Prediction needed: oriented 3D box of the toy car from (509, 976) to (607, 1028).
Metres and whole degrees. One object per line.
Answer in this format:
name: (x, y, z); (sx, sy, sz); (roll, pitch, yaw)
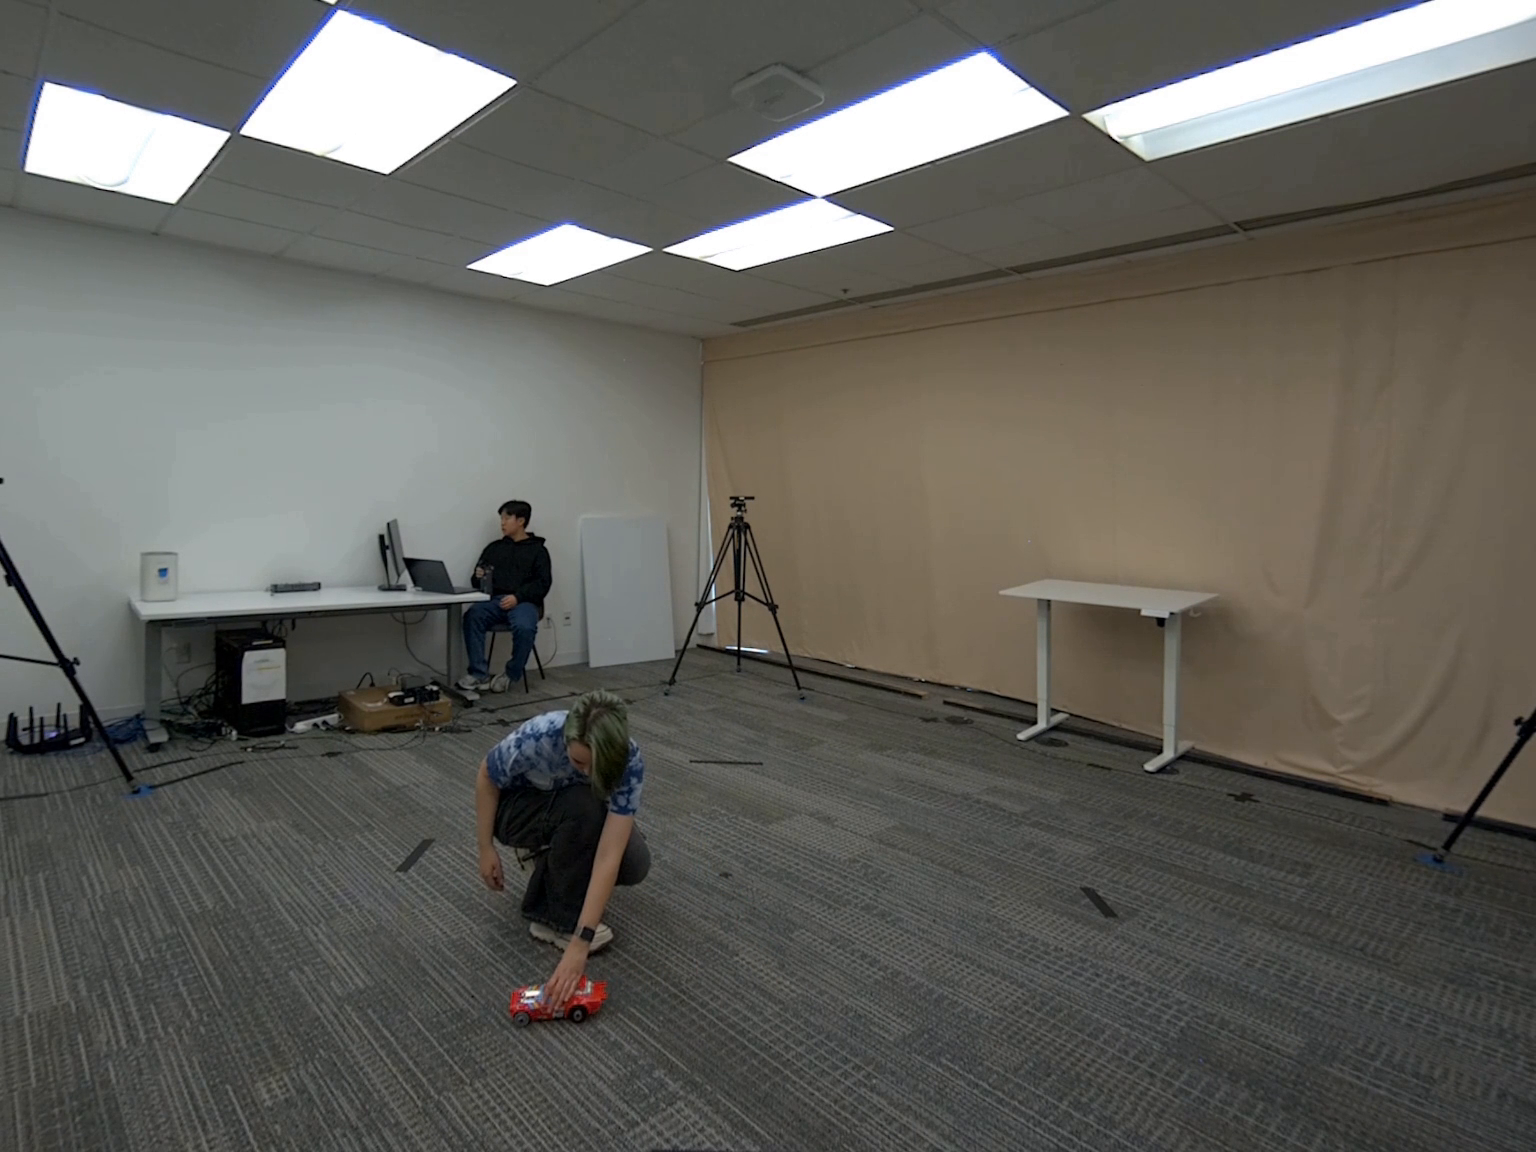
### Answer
toy car: (-0.570, 1.146, 2.253); (0.253, 0.083, 0.131); (-12, 6, -7)
